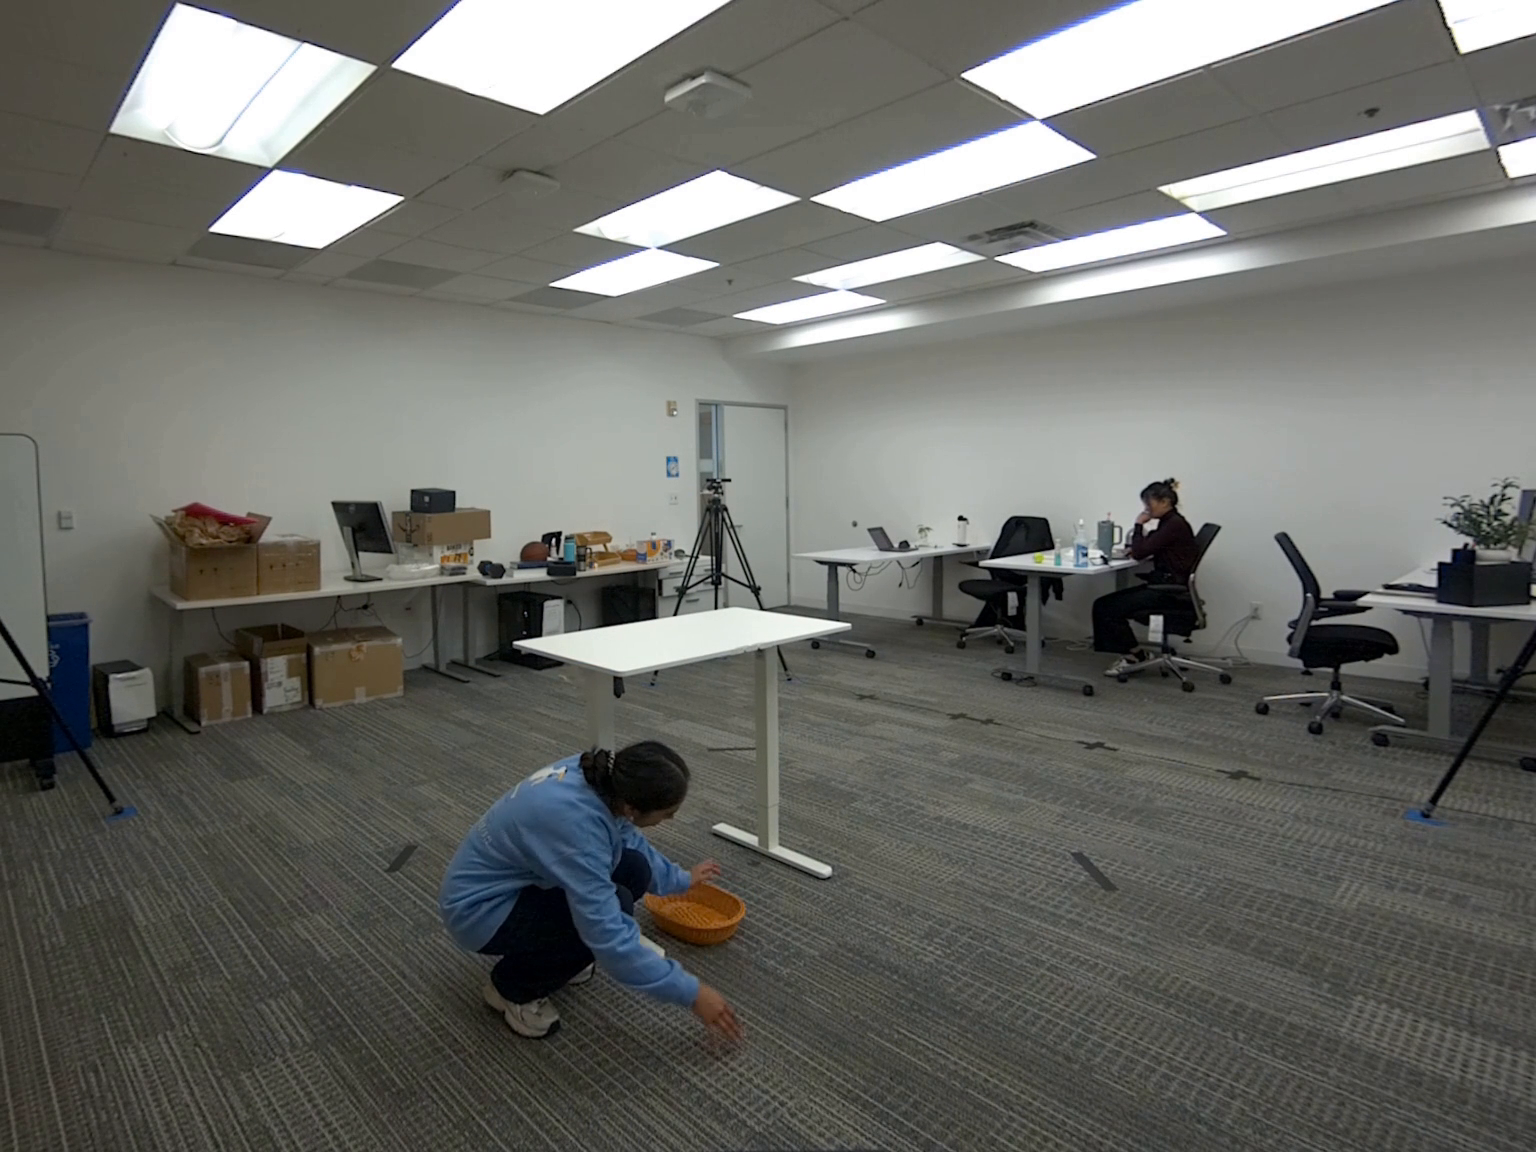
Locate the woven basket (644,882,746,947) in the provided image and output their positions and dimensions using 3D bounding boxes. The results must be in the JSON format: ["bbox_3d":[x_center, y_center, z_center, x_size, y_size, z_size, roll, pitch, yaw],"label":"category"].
[{"bbox_3d":[-0.228,1.053,2.681,0.361,0.073,0.246,5,7,40],"label":"woven basket"}]
